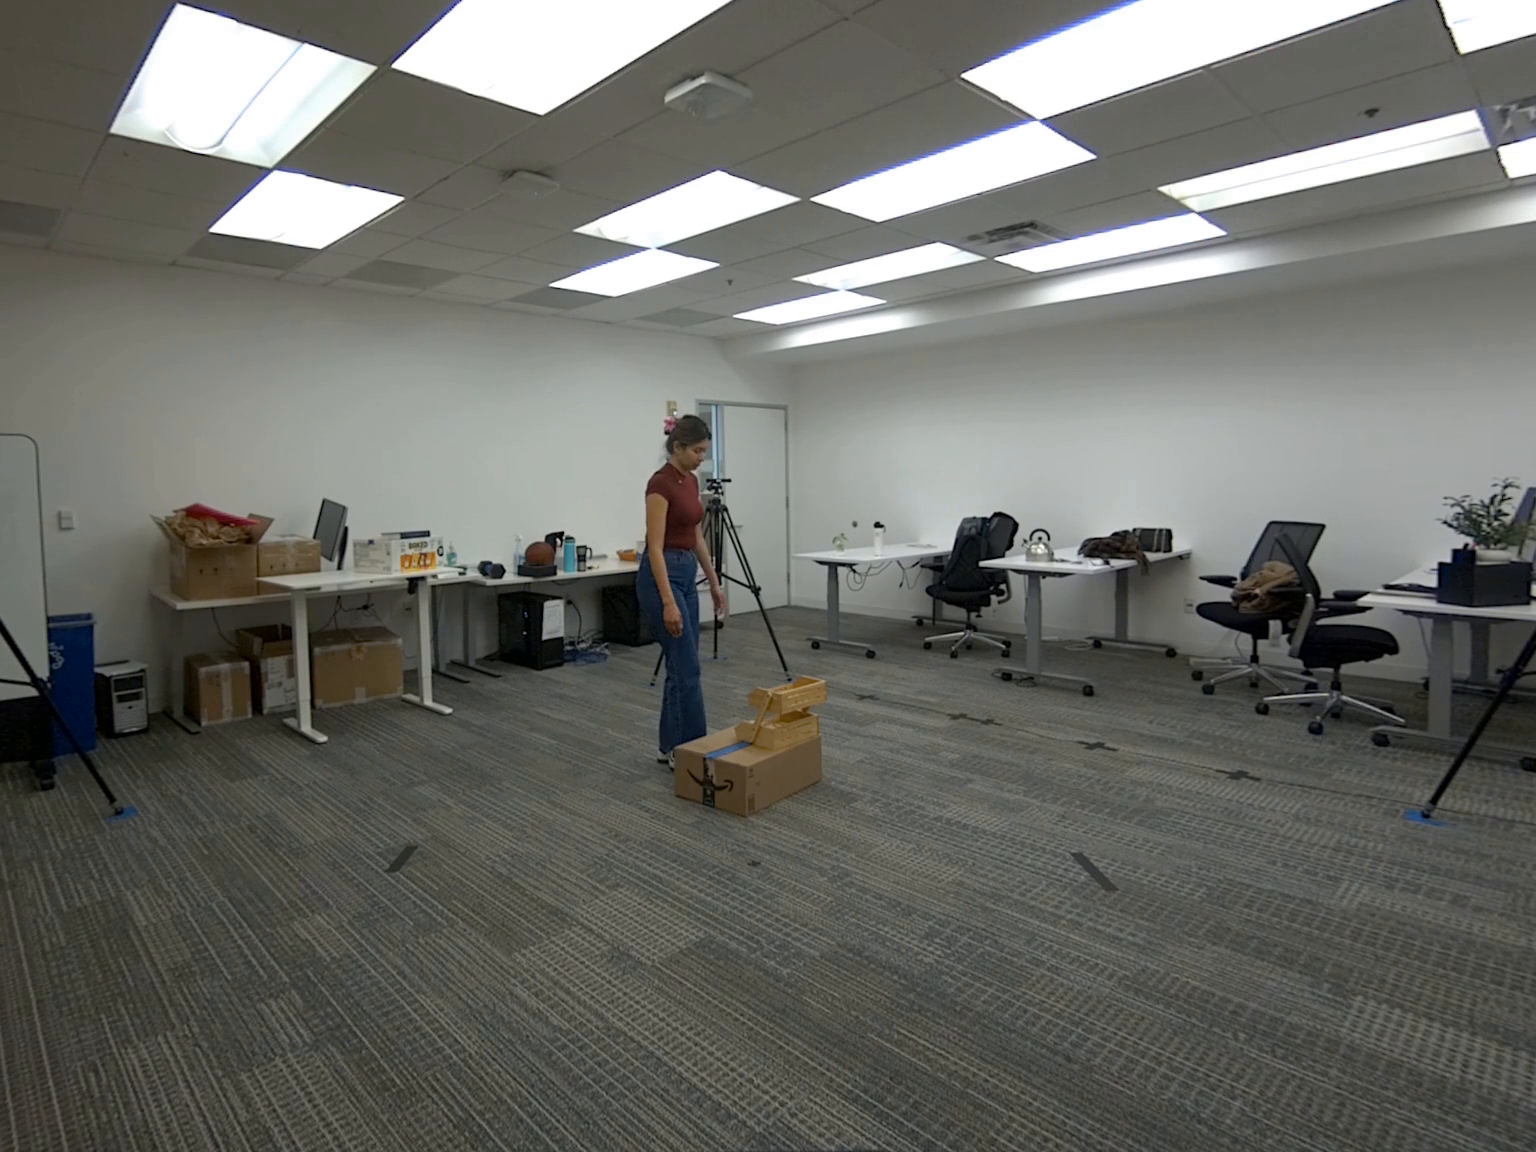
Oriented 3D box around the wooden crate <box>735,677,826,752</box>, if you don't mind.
[{"bbox_3d":[0.055,0.606,3.901,0.316,0.272,0.311,-7,9,-43],"label":"wooden crate"}]
